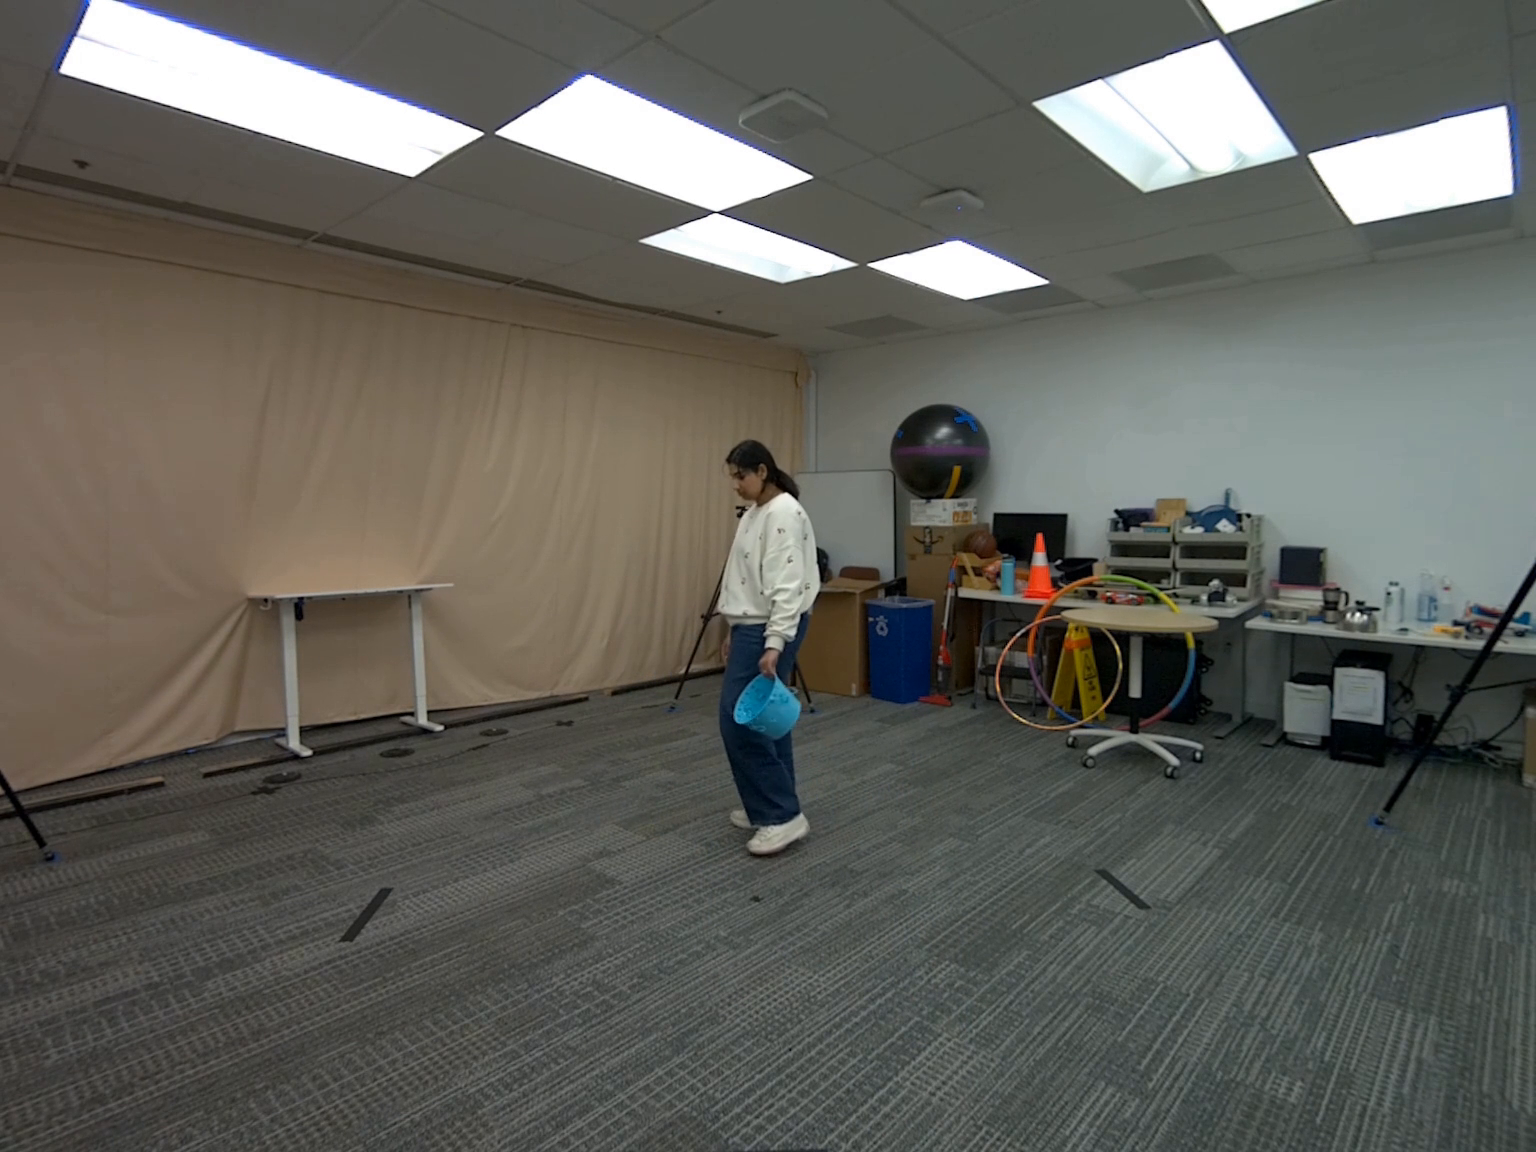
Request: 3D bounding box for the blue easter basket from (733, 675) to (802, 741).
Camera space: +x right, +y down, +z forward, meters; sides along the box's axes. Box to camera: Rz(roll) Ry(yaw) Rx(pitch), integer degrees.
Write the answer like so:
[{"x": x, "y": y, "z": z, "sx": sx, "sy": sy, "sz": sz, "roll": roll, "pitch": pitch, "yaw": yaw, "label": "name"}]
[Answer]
[{"x": -0.001, "y": 0.484, "z": 3.193, "sx": 0.152, "sy": 0.243, "sz": 0.249, "roll": 39, "pitch": -11, "yaw": -20, "label": "blue easter basket"}]
